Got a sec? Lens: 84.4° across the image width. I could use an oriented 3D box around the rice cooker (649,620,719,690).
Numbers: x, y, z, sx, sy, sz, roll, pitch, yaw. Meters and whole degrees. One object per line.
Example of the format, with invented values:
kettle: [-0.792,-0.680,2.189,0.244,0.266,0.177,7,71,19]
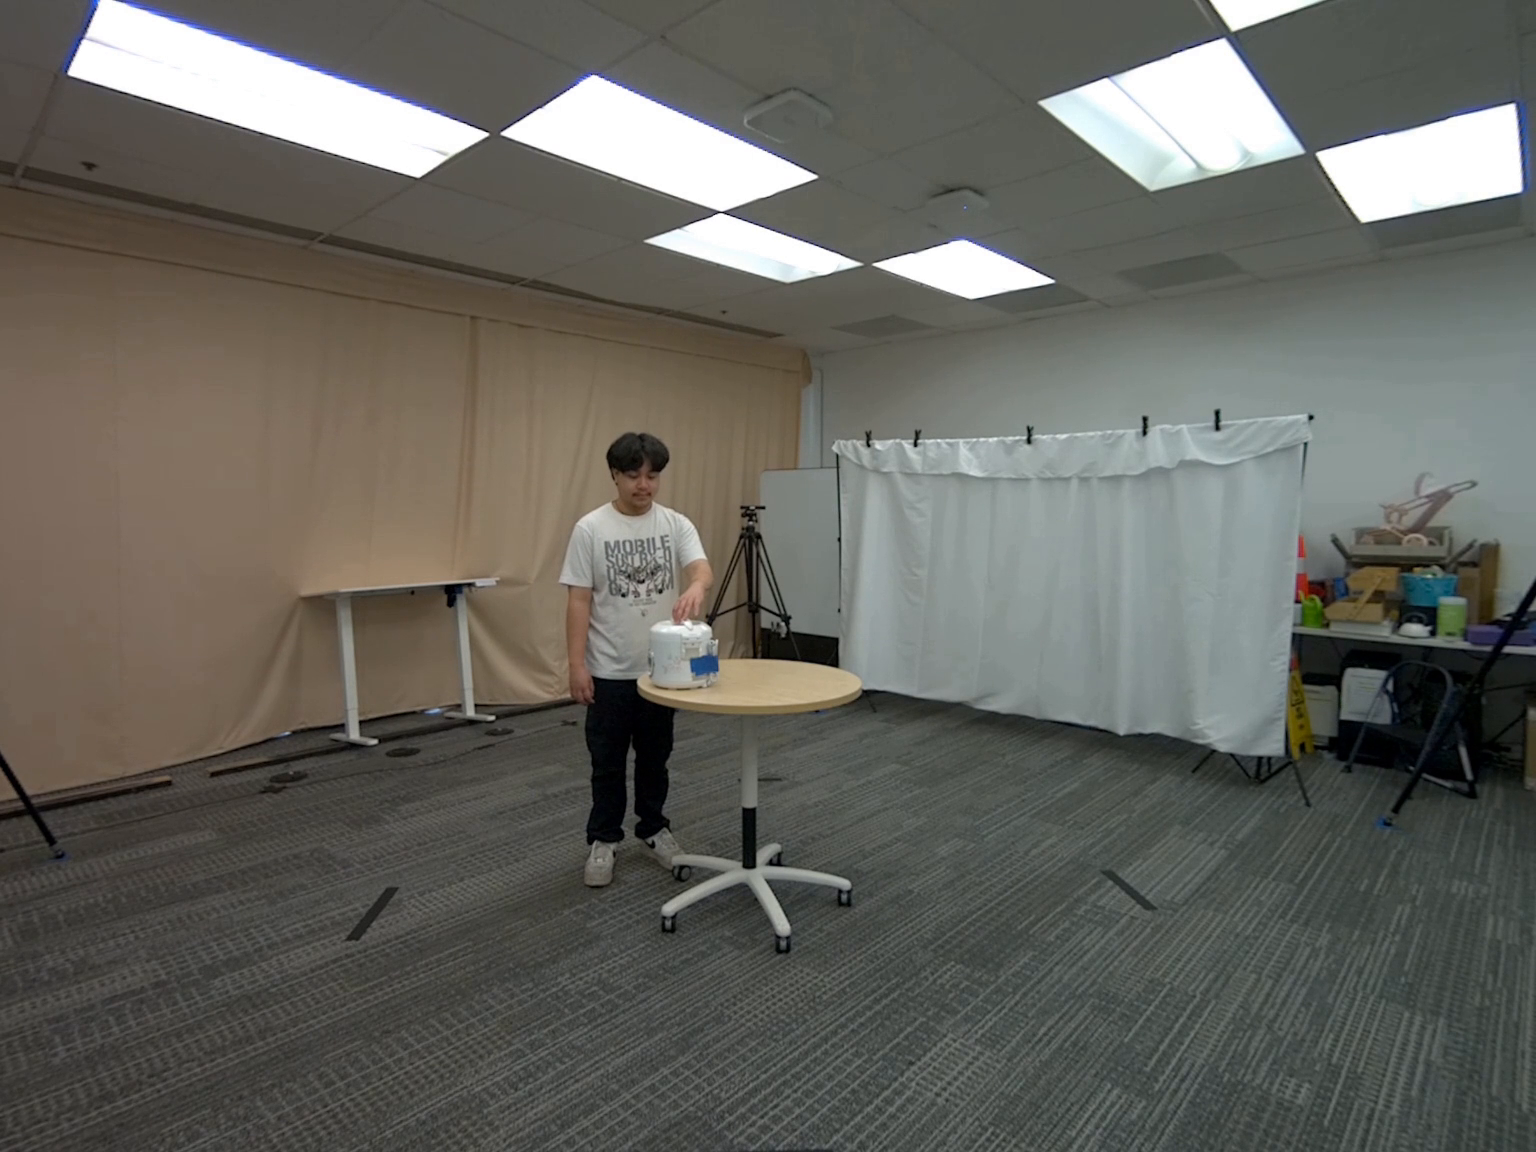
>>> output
rice cooker: [-0.288,0.247,2.795,0.212,0.232,0.226,-1,3,-25]
